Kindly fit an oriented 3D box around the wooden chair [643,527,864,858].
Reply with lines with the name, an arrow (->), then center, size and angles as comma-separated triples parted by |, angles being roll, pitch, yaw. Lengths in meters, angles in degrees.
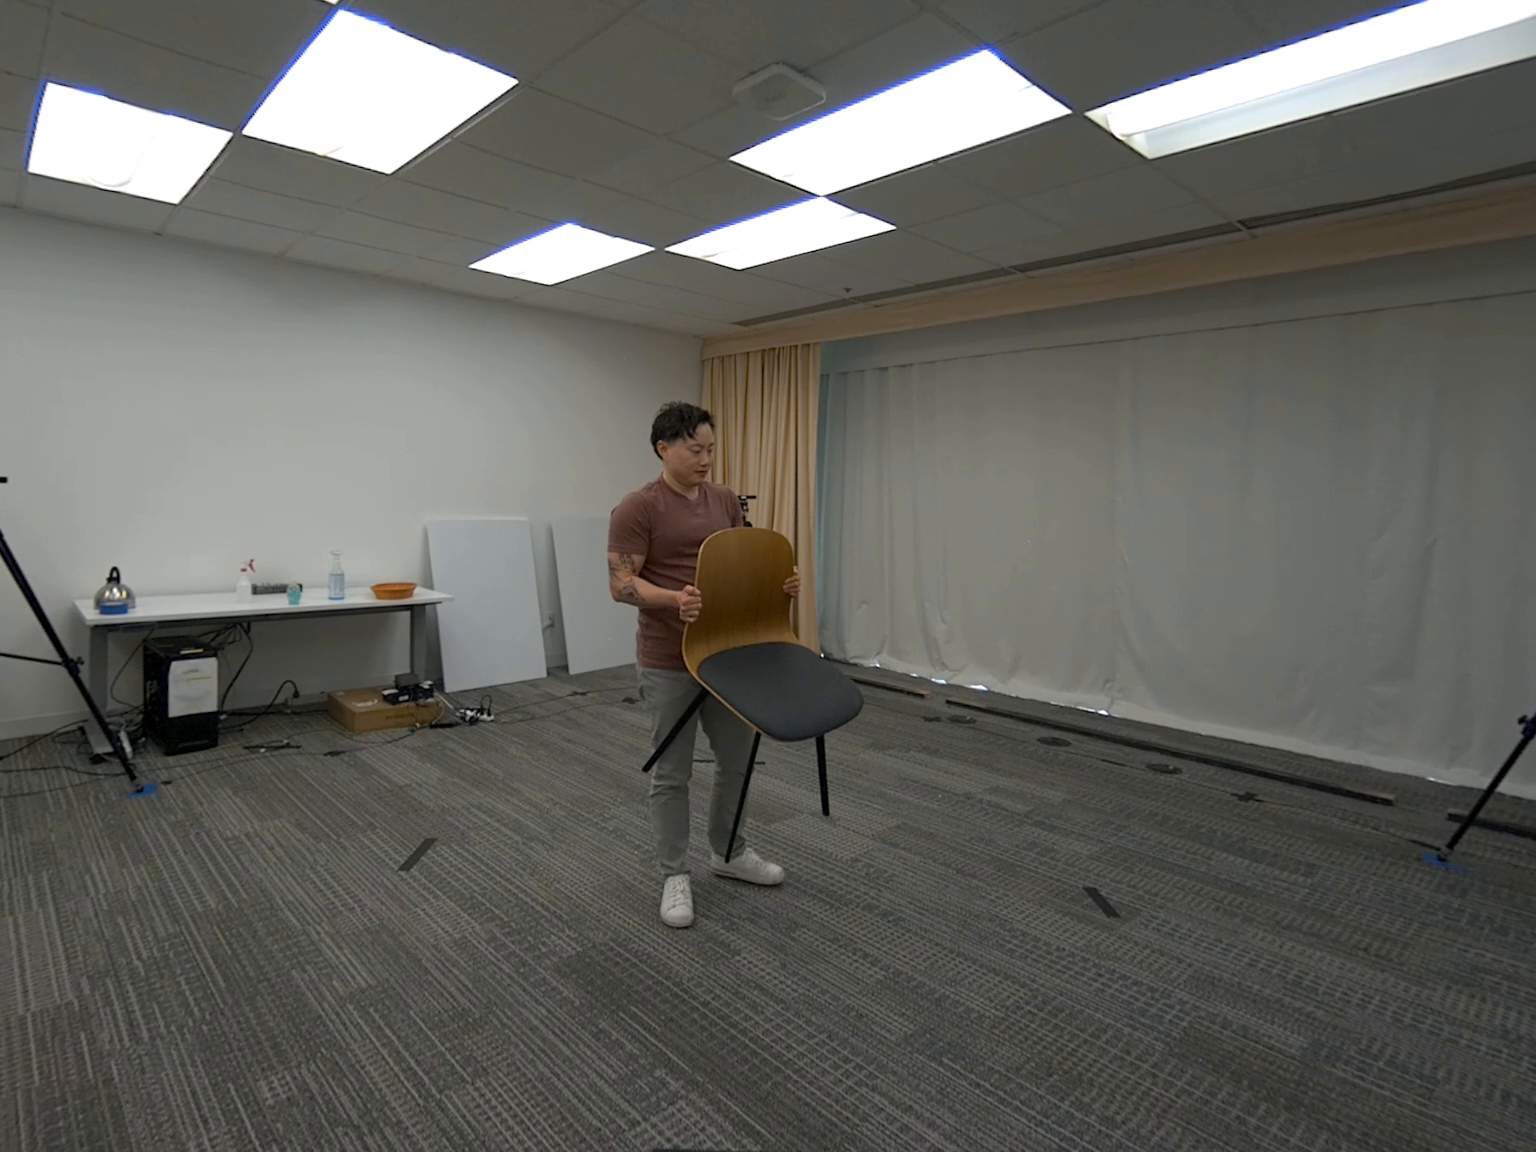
wooden chair -> -0.006, 0.353, 2.608 | 0.468, 0.868, 0.540 | -7, 27, -43
